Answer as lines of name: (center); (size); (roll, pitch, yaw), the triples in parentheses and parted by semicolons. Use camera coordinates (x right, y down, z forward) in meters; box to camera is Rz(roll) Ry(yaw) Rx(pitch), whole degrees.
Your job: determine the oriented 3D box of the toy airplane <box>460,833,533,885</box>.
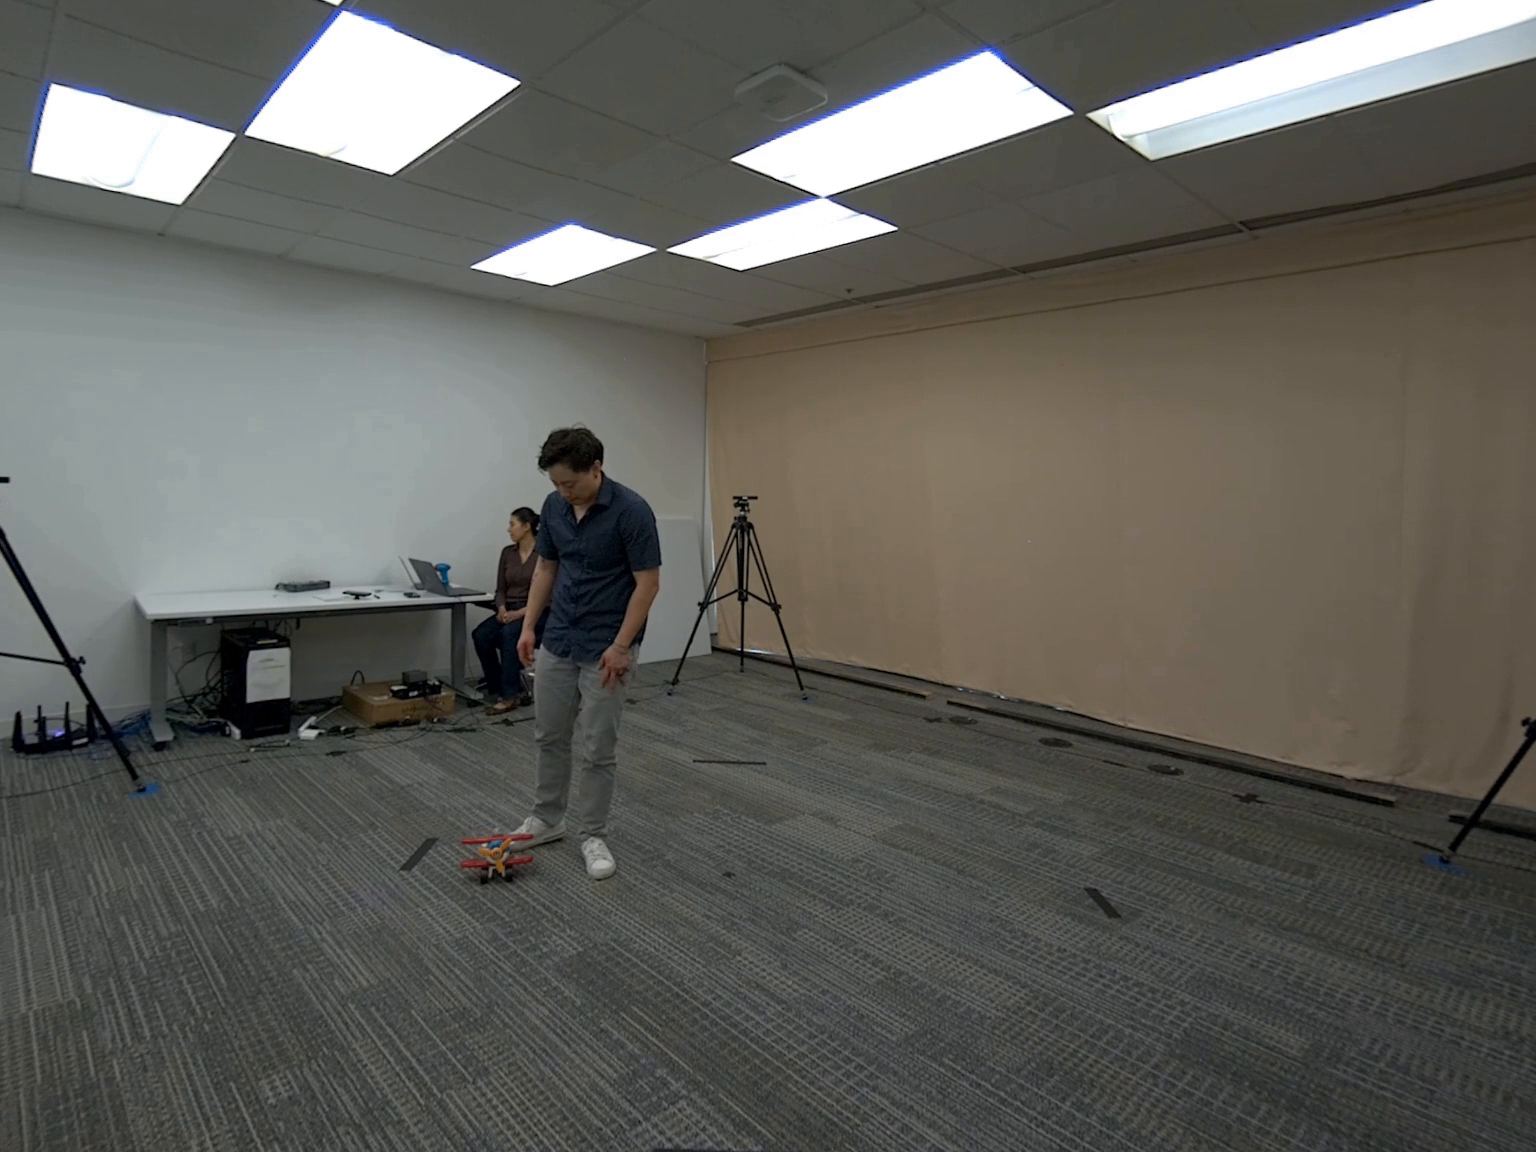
toy airplane: (-1.021, 1.018, 3.078); (0.245, 0.156, 0.266); (-3, 7, -42)
